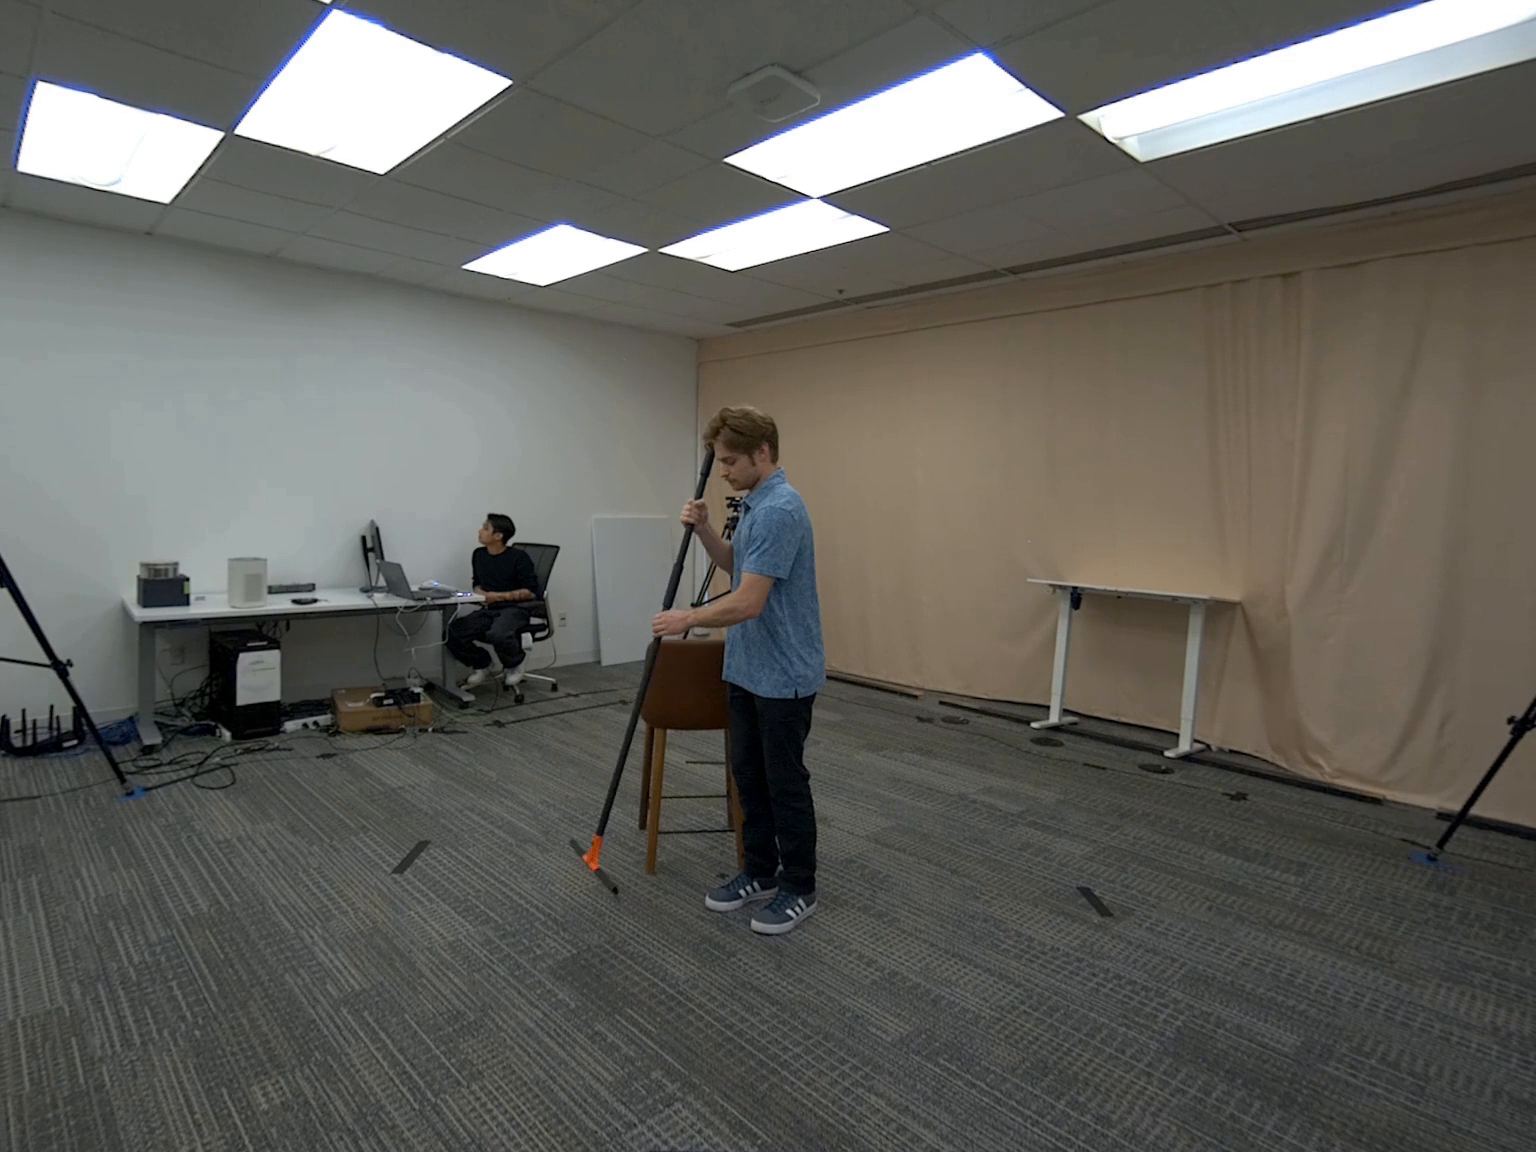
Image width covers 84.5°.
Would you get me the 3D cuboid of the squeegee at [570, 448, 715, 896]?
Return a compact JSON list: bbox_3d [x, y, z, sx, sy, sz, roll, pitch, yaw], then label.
[{"bbox_3d":[-0.383,0.226,2.766,0.051,1.542,0.447,17,-6,-33],"label":"squeegee"}]
